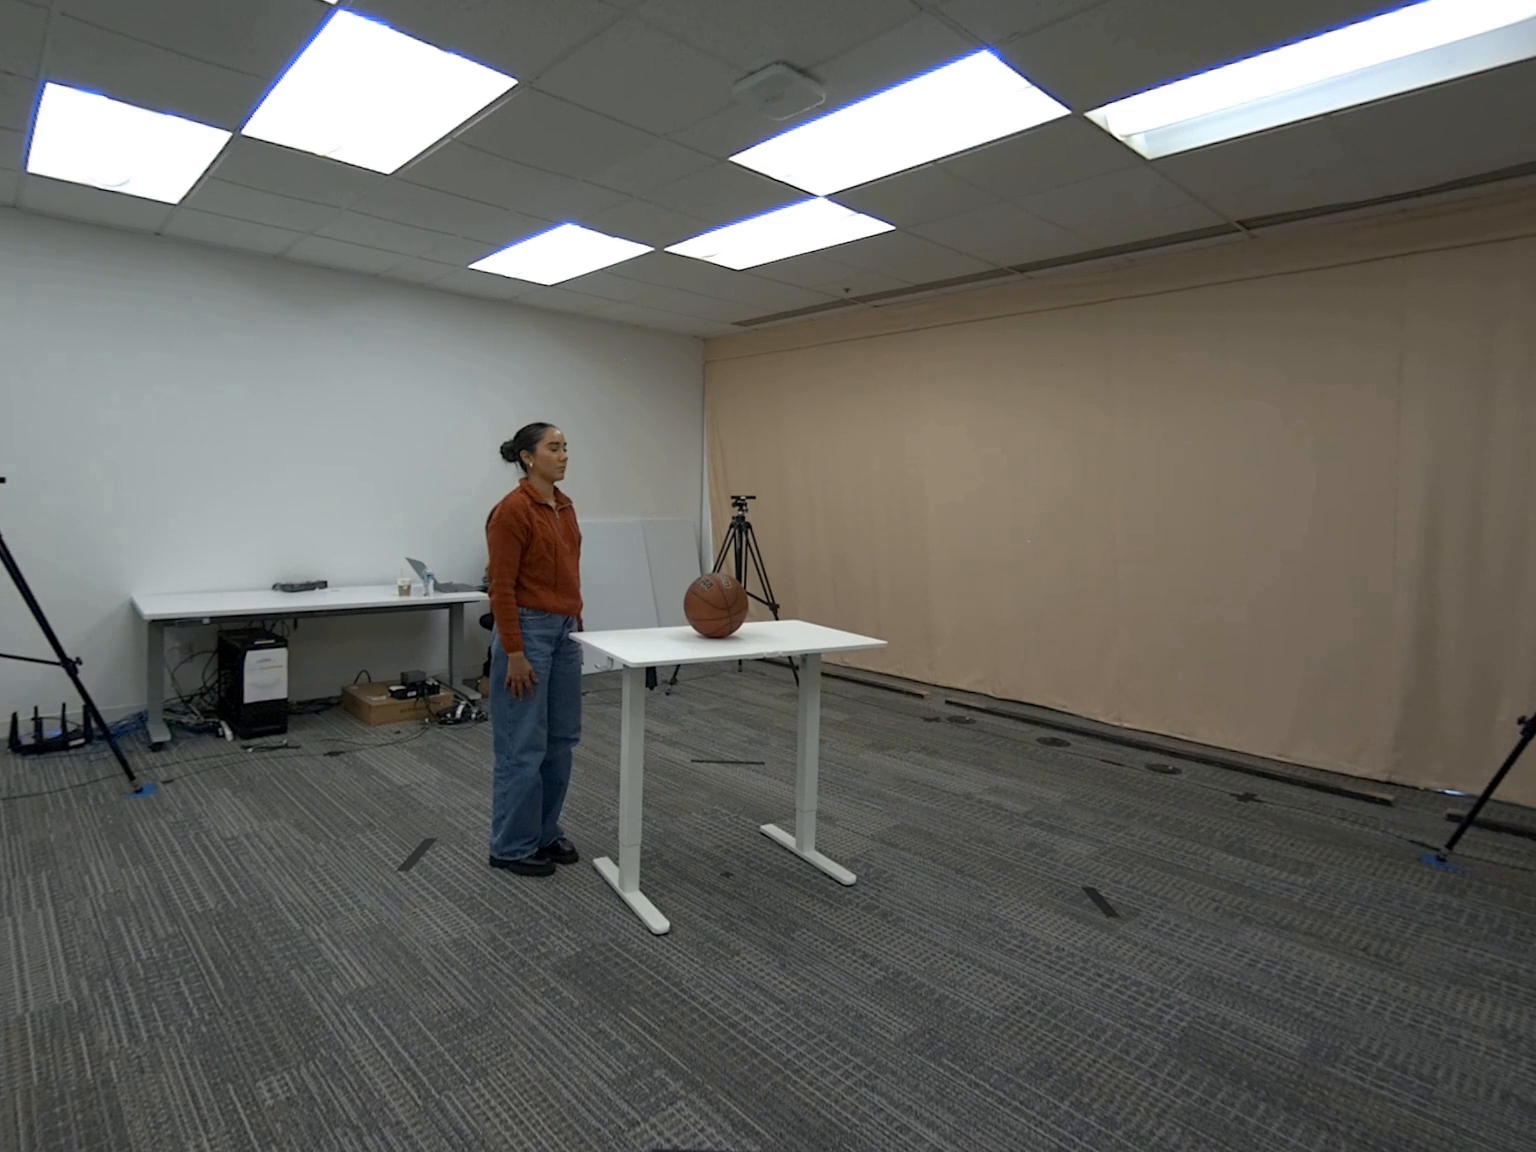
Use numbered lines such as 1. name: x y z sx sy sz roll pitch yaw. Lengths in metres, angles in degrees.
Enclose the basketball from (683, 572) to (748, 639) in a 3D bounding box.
1. basketball: -0.199 0.107 3.060 0.236 0.235 0.237 1 4 -1
